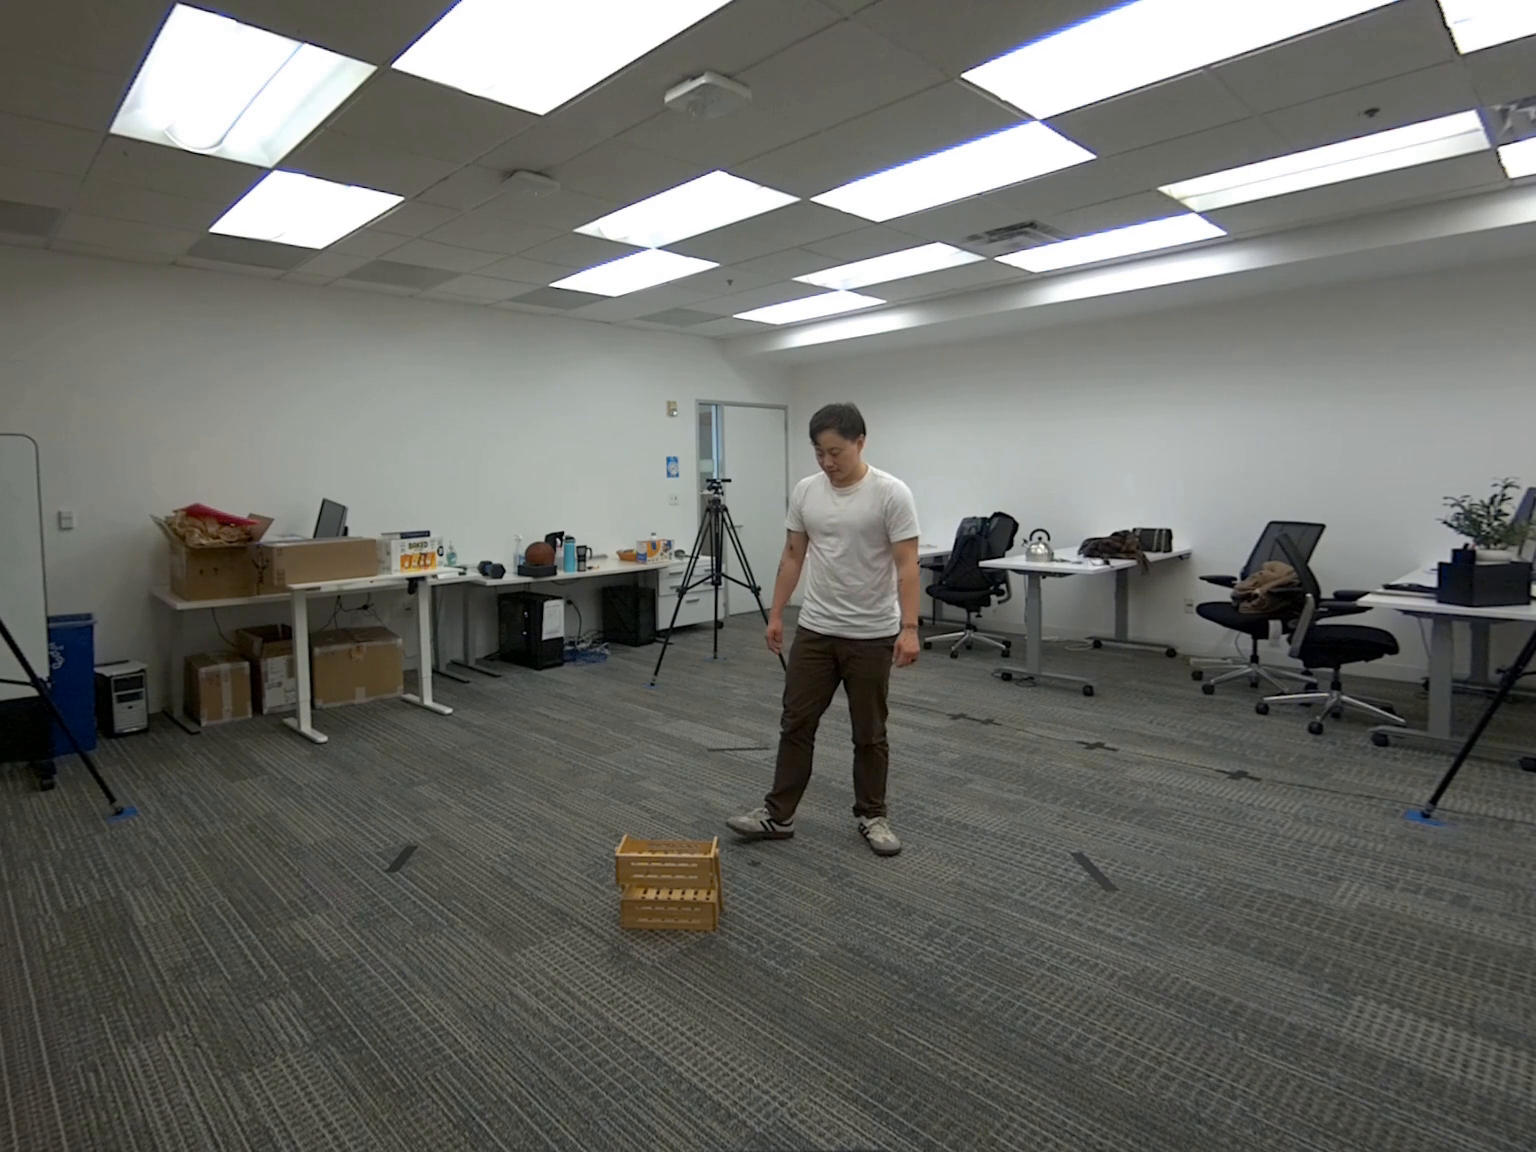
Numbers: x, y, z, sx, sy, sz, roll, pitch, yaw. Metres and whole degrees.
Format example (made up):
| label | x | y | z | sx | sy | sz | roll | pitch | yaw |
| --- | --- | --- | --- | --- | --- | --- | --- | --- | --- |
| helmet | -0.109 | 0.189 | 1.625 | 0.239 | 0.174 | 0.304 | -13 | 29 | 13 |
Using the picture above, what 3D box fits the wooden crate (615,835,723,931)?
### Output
| label | x | y | z | sx | sy | sz | roll | pitch | yaw |
| --- | --- | --- | --- | --- | --- | --- | --- | --- | --- |
| wooden crate | -0.307 | 0.957 | 2.750 | 0.326 | 0.272 | 0.302 | -1 | 6 | 3 |
